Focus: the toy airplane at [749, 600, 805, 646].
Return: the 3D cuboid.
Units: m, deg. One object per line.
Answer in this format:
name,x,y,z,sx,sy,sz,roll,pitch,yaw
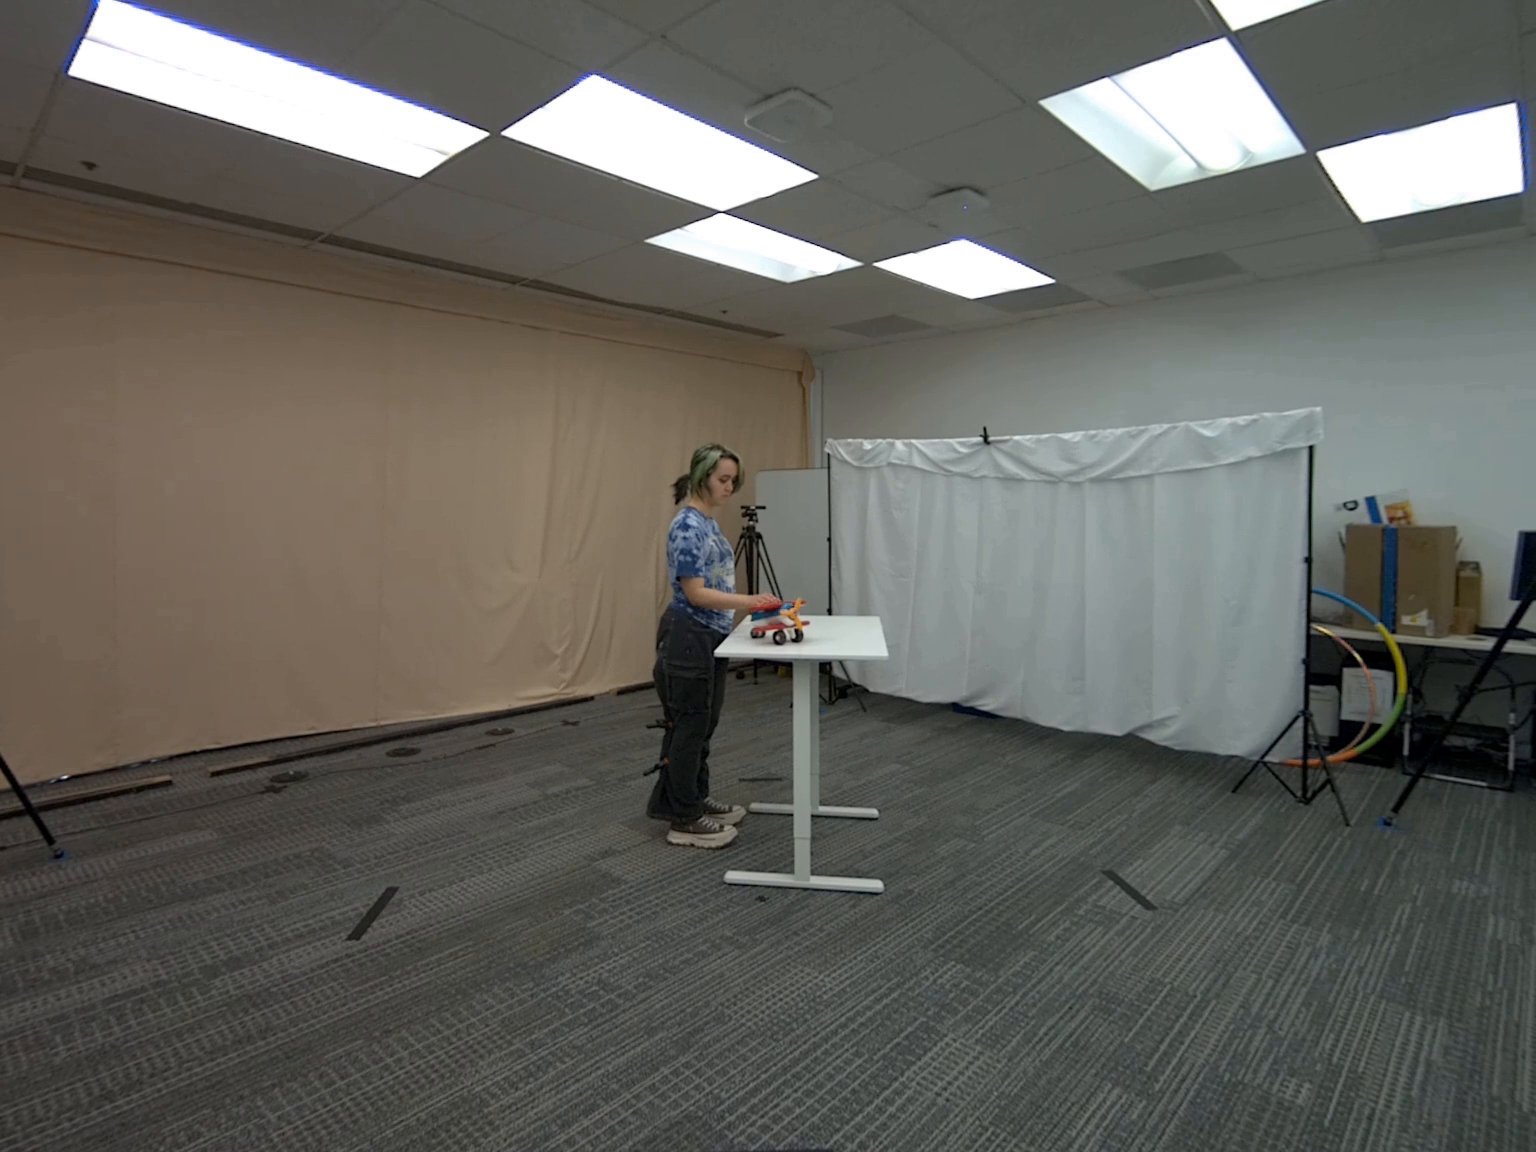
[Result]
toy airplane,0.011,0.172,3.171,0.266,0.156,0.245,2,5,25
